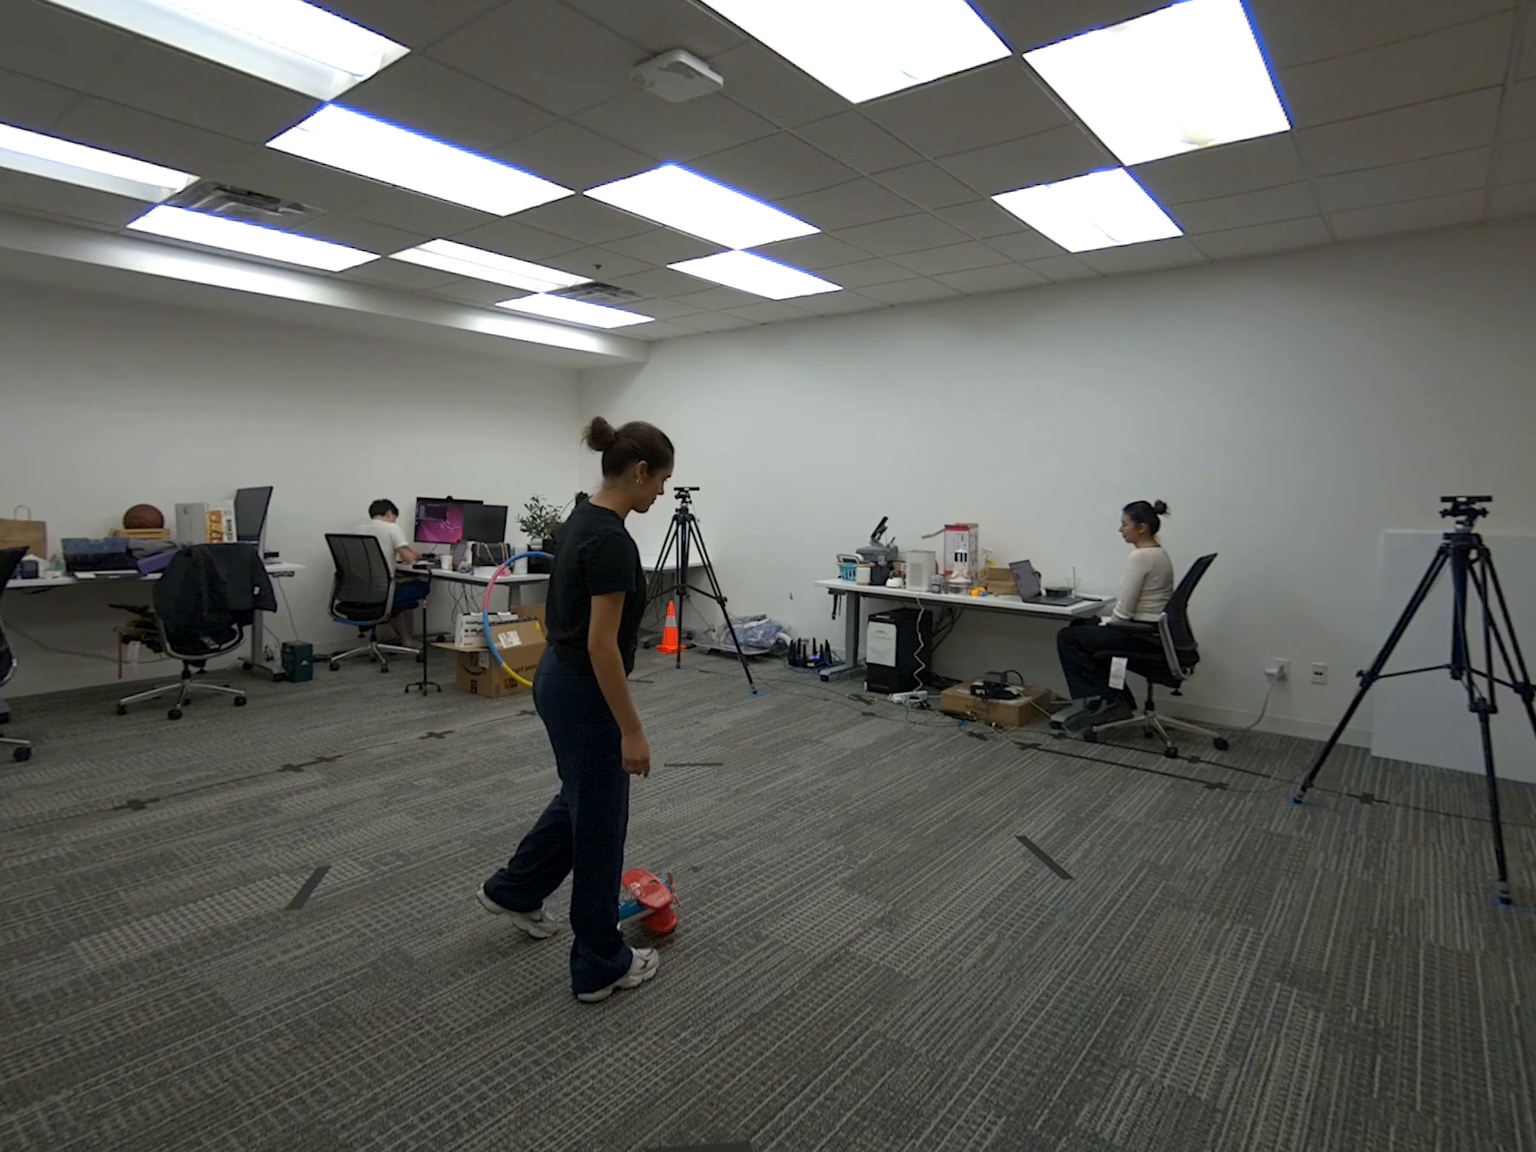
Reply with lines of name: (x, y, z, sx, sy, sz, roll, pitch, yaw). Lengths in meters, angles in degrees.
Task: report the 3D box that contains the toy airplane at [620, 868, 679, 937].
toy airplane: (-0.386, 1.039, 2.645, 0.258, 0.156, 0.252, 3, 3, 30)
